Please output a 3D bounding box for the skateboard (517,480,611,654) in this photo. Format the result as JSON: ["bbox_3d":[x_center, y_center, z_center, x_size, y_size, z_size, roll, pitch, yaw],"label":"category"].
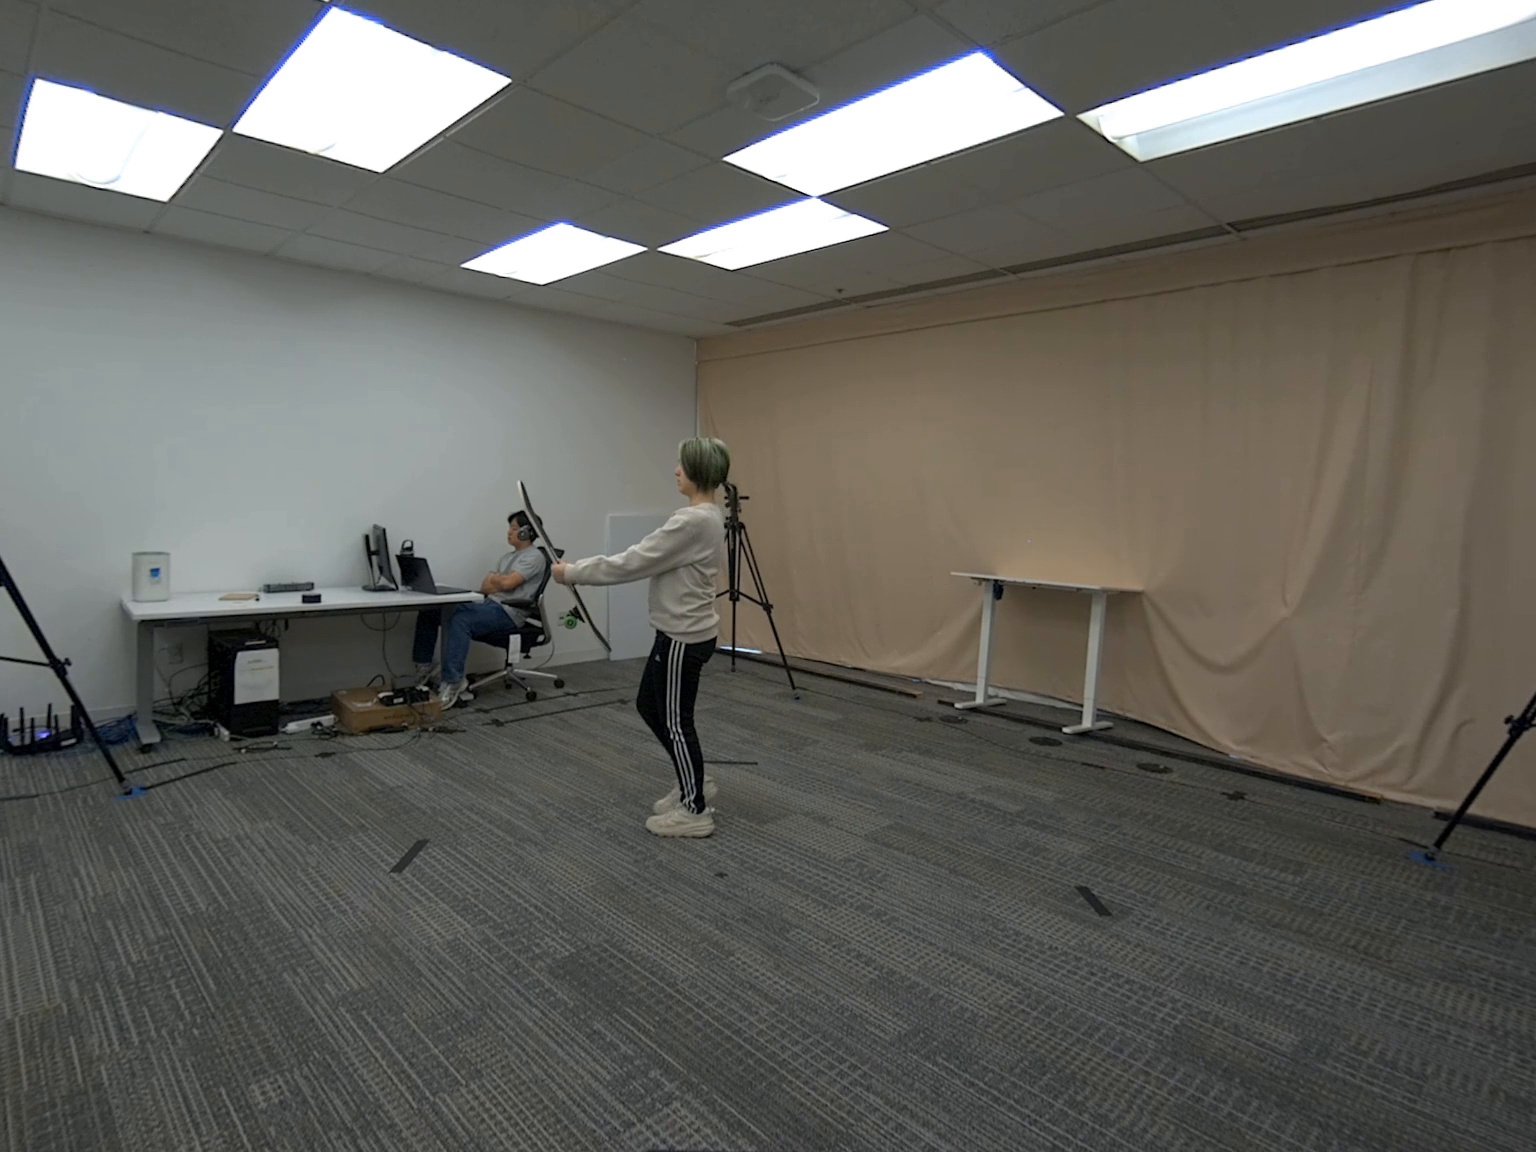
[{"bbox_3d":[-0.874,-0.013,3.431,0.110,0.779,0.195,-28,8,-8],"label":"skateboard"}]
